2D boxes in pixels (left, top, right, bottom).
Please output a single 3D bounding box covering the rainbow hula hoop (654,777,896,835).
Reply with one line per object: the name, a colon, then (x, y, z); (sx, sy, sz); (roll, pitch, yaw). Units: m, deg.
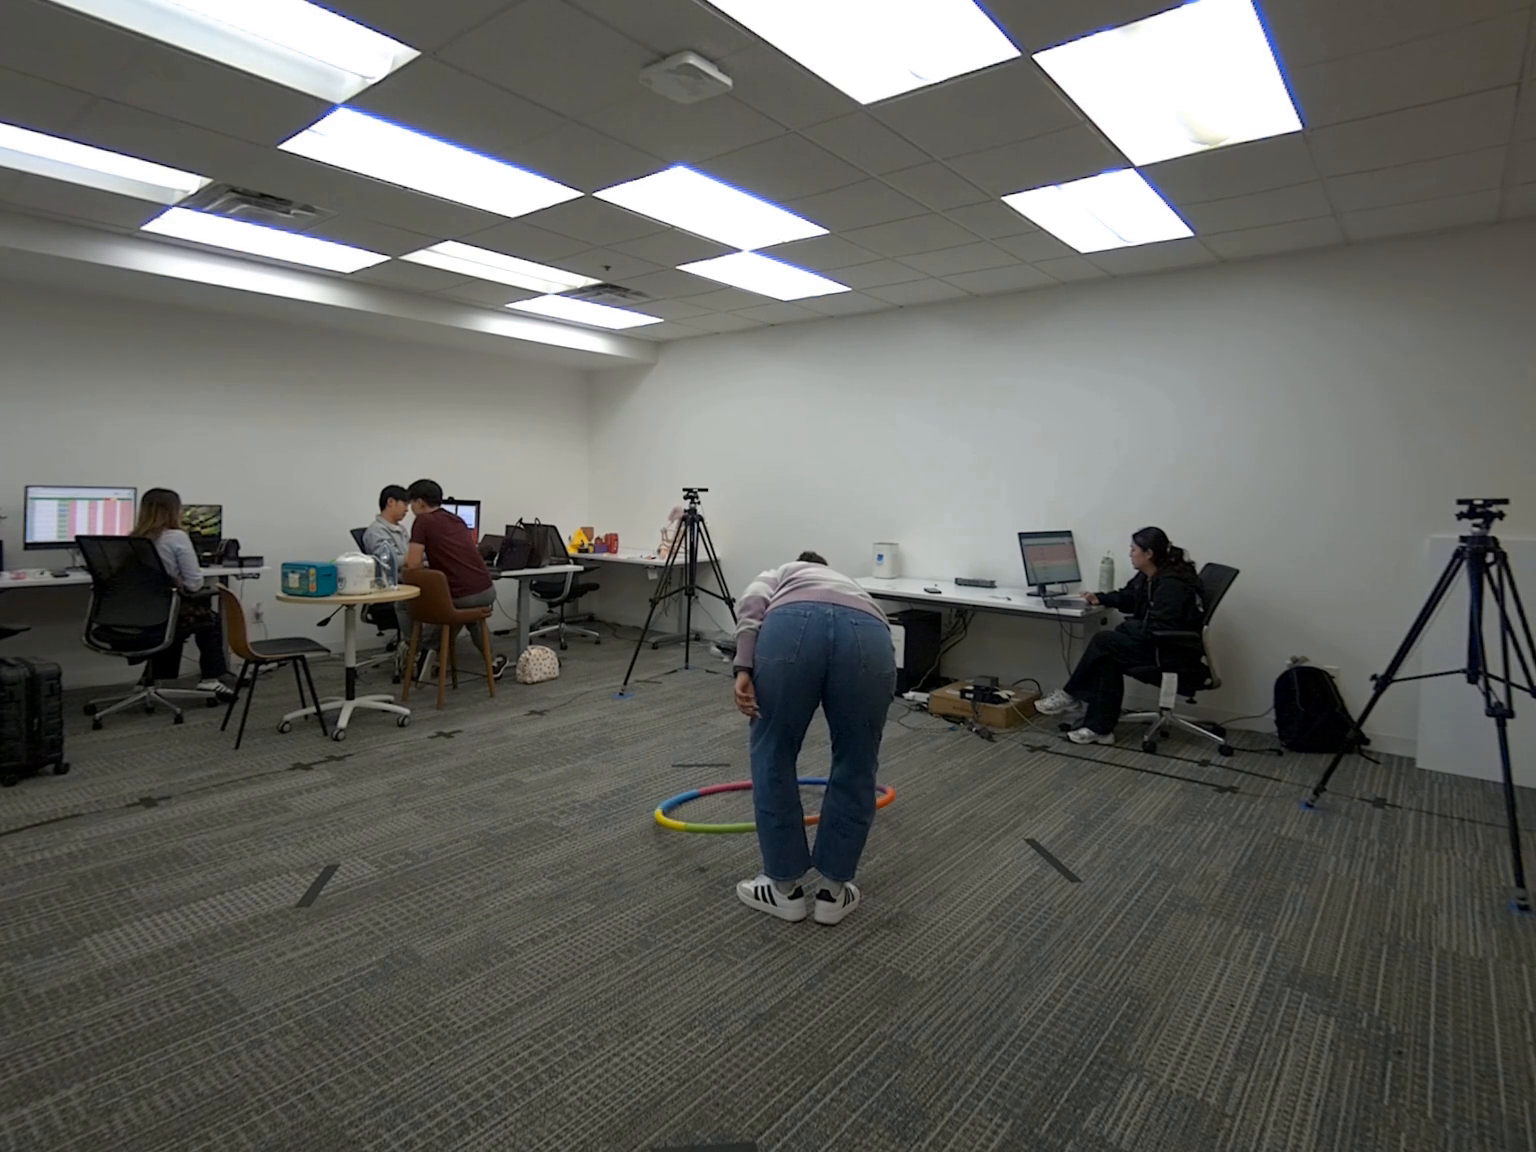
rainbow hula hoop: (0.008, 0.923, 3.513); (0.977, 0.036, 0.974); (-5, -4, -2)
